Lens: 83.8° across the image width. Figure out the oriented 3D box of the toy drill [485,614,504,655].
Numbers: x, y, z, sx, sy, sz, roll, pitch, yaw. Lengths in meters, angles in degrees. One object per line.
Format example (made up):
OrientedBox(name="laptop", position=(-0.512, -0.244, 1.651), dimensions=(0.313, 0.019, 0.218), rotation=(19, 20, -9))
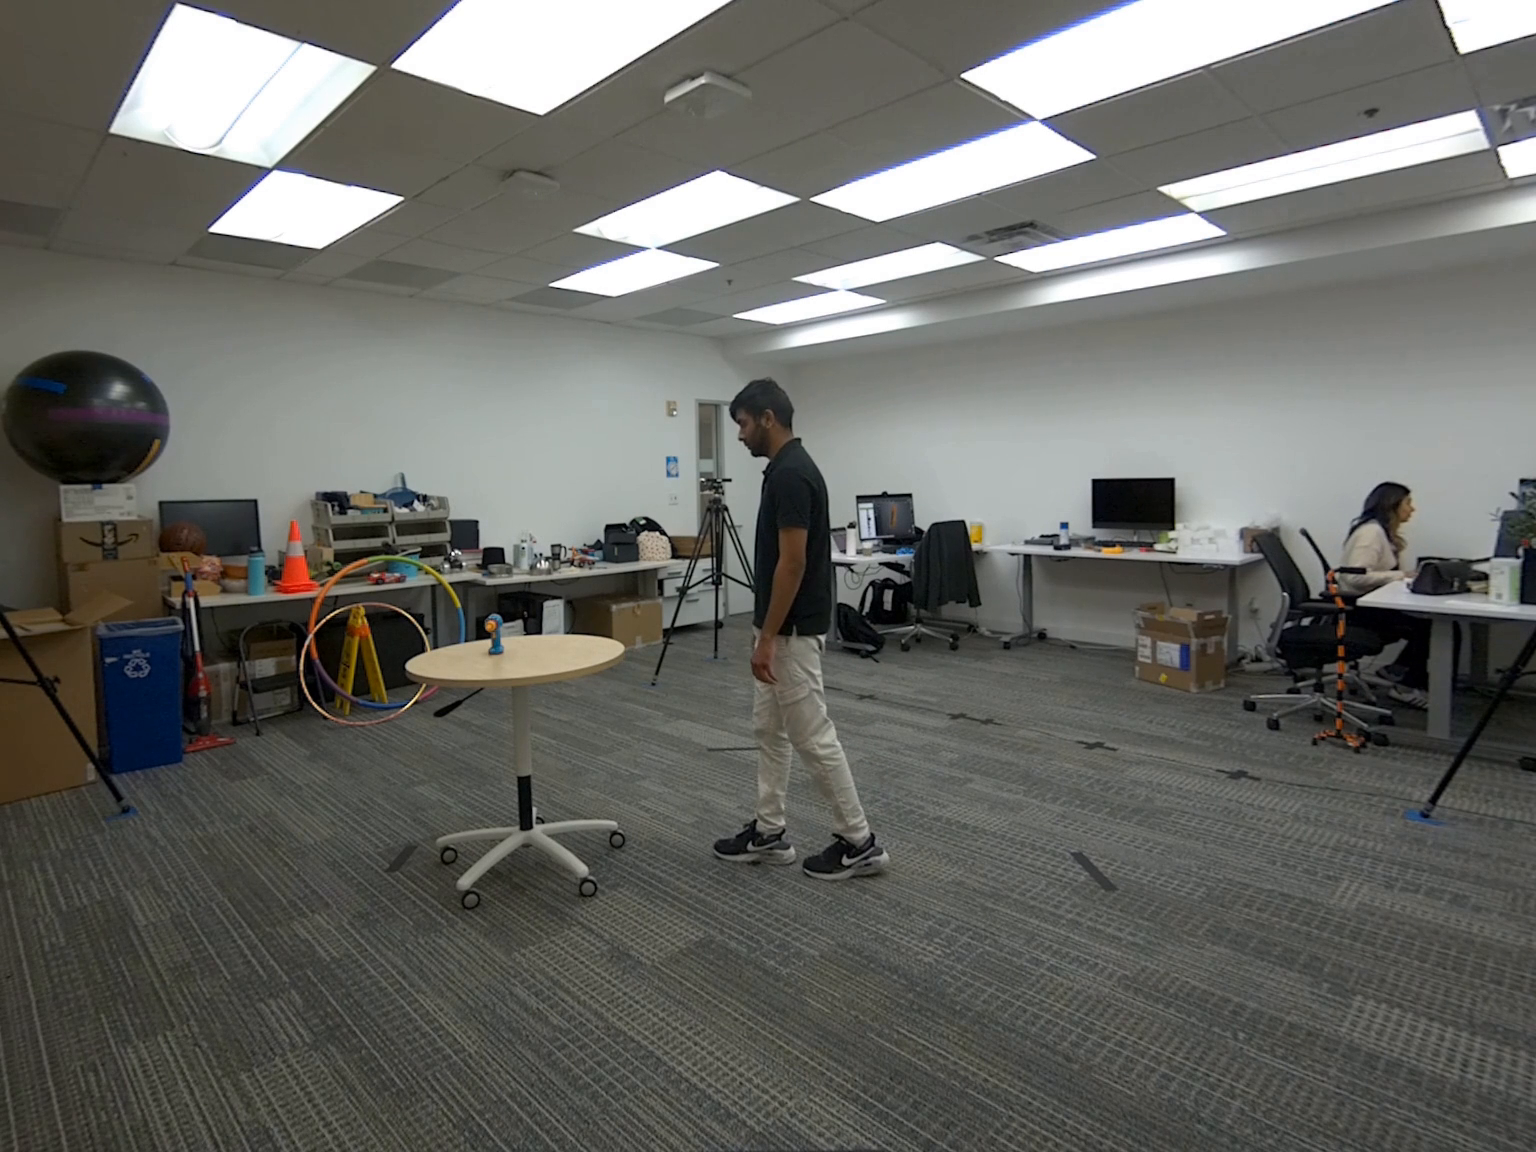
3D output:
OrientedBox(name="toy drill", position=(-0.985, 0.210, 3.076), dimensions=(0.061, 0.145, 0.171), rotation=(-1, 5, -7))
